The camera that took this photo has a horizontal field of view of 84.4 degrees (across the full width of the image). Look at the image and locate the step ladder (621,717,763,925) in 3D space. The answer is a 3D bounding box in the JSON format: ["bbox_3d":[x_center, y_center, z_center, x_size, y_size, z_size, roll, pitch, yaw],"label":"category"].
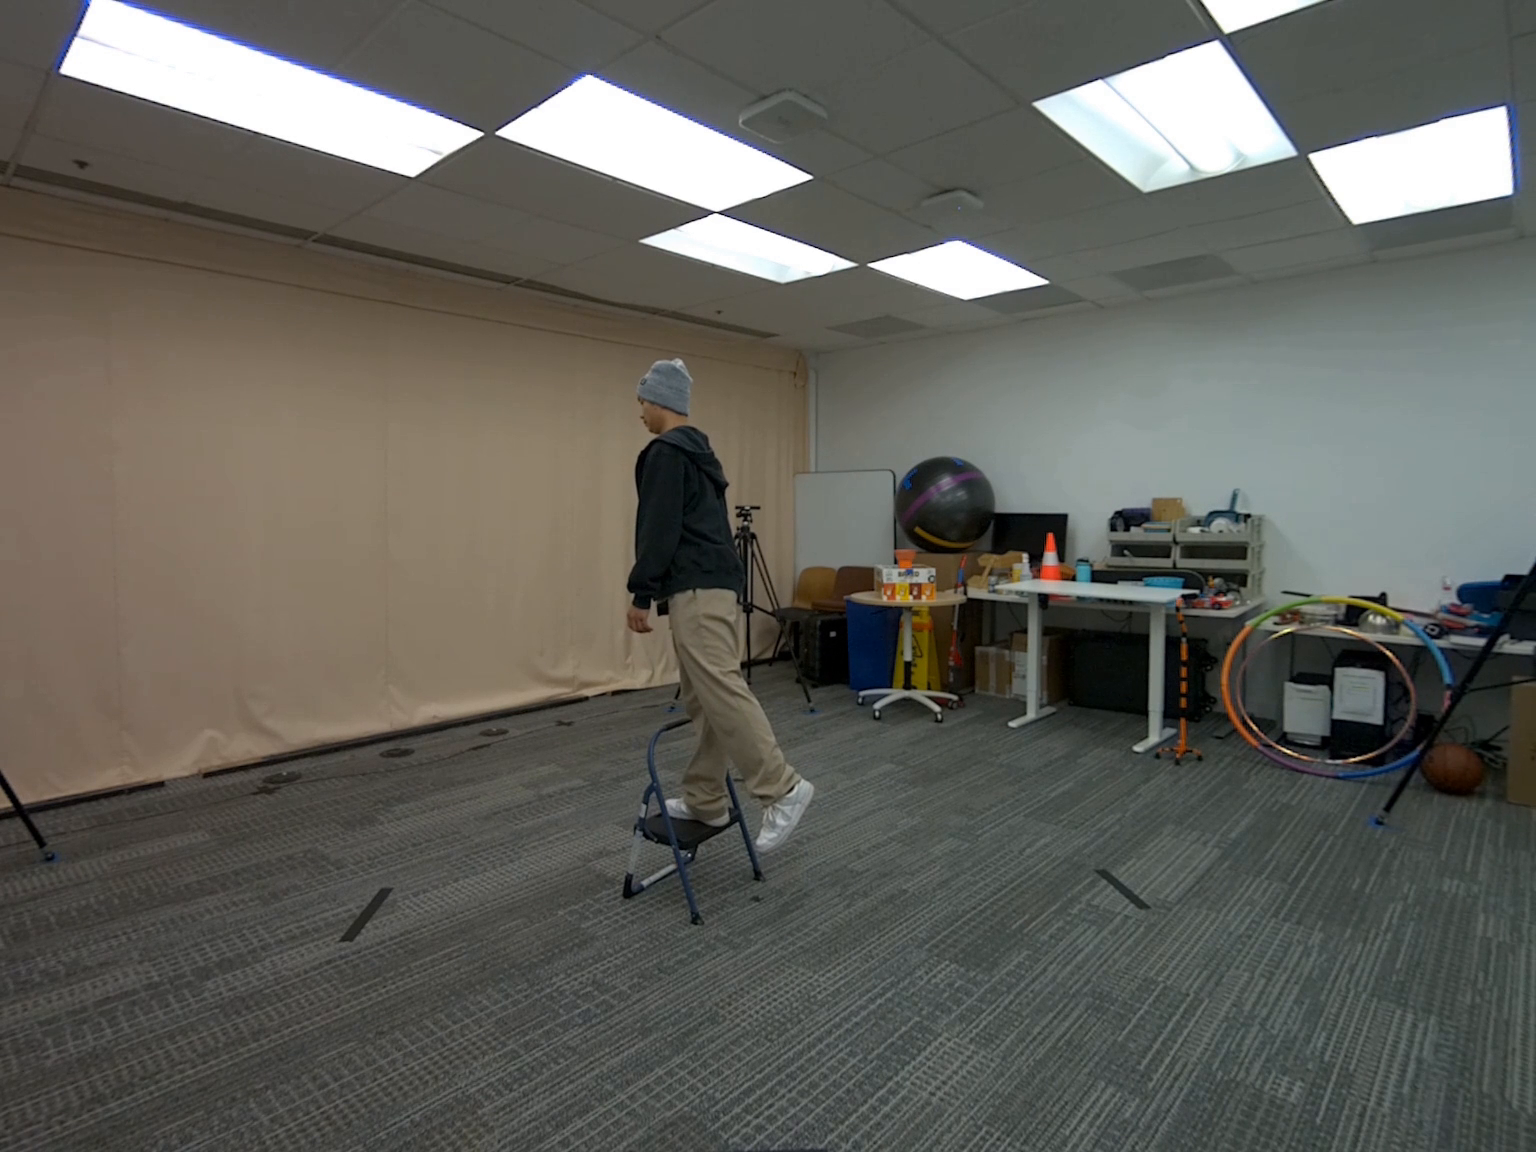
[{"bbox_3d":[-0.270,0.838,3.053,0.360,0.605,0.419,1,3,32],"label":"step ladder"}]
